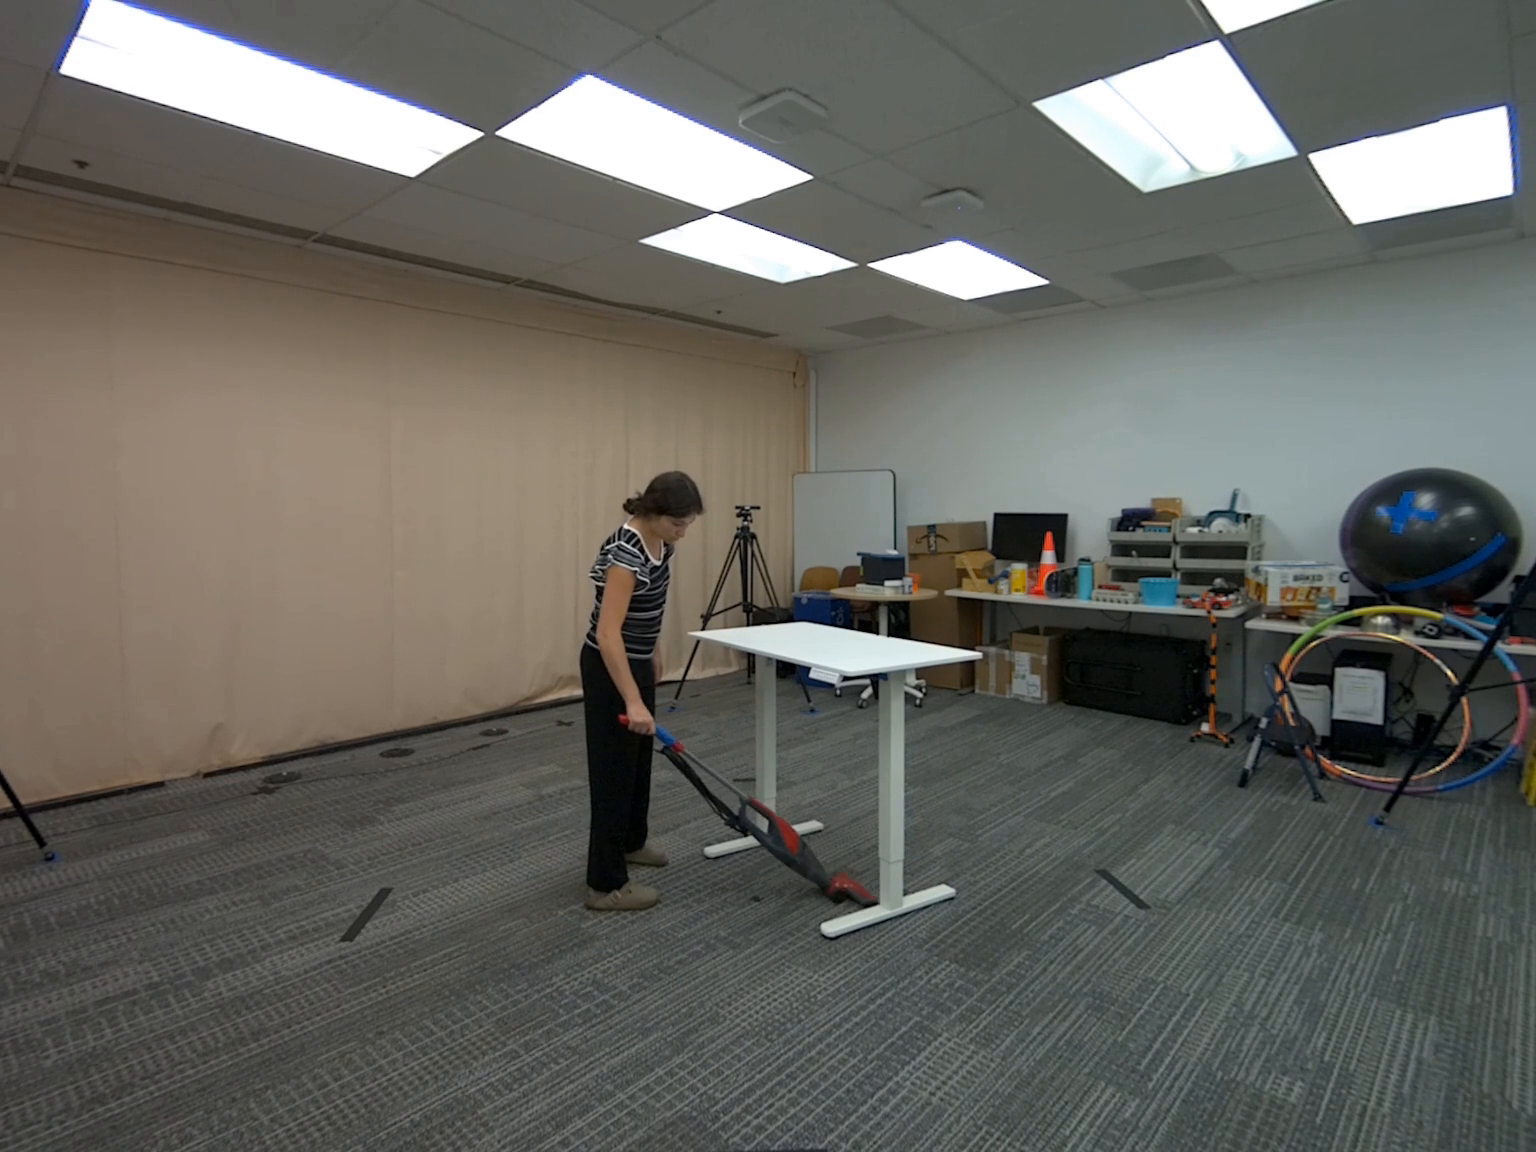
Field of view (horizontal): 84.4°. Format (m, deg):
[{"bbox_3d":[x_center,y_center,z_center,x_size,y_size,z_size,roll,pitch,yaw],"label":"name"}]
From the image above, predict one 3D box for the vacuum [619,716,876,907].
[{"bbox_3d":[-0.097,0.805,2.889,1.029,0.144,0.258,41,-10,-17],"label":"vacuum"}]
